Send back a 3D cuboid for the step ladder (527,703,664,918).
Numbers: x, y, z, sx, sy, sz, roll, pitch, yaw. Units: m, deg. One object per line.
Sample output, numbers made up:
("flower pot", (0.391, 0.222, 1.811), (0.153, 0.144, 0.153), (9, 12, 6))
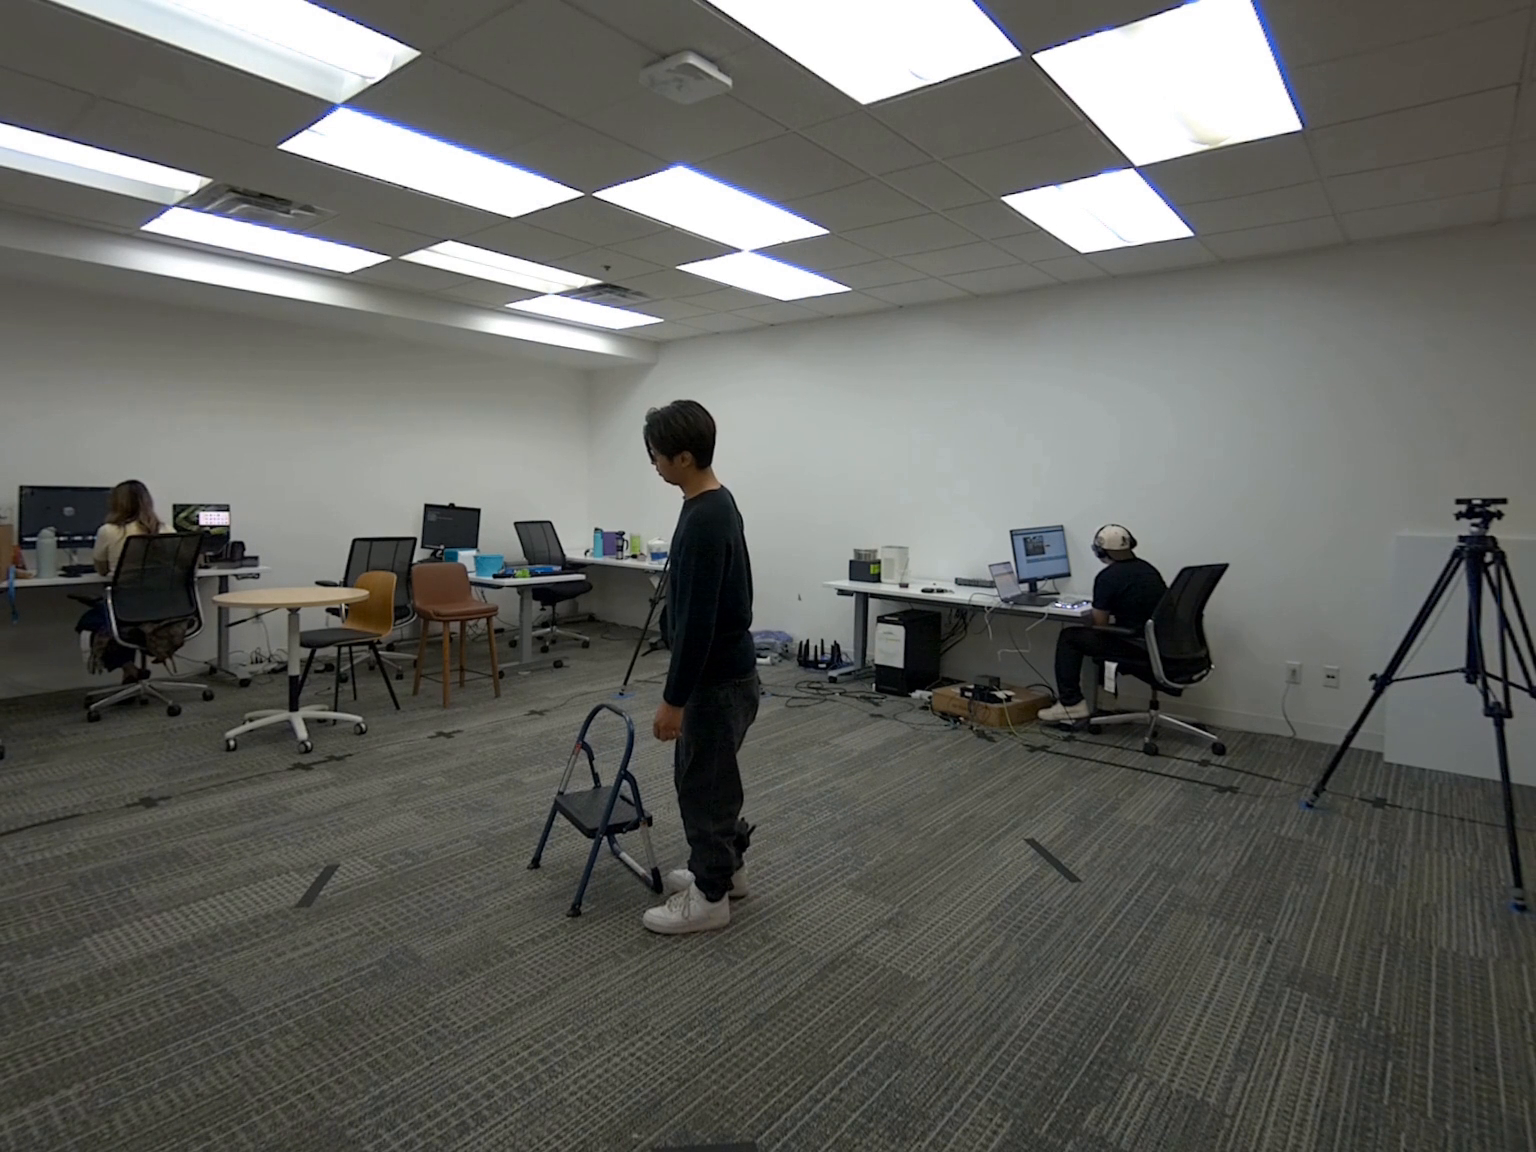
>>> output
("step ladder", (-0.620, 0.770, 2.994), (0.339, 0.604, 0.444), (-1, 4, -33))
